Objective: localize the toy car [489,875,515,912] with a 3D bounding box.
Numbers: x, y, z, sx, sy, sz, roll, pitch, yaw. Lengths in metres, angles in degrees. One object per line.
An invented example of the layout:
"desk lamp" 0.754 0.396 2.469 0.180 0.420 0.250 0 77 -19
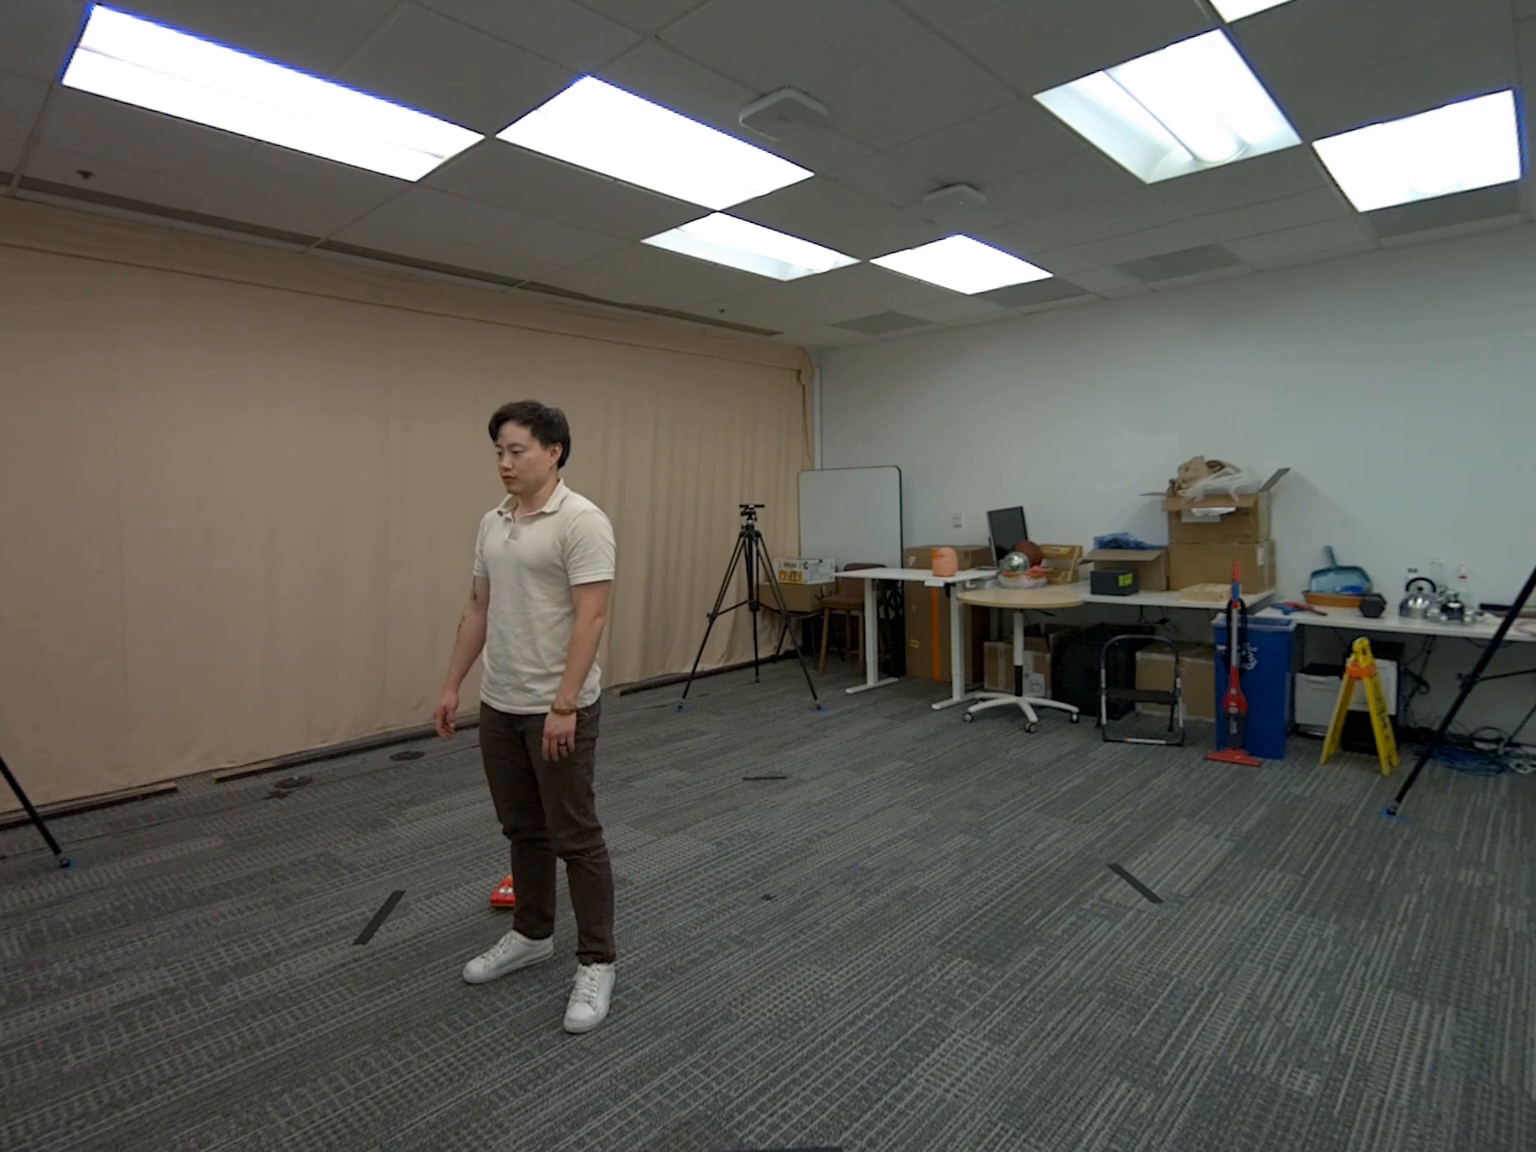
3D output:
"toy car" -0.922 1.129 3.011 0.131 0.083 0.252 -1 -8 4
